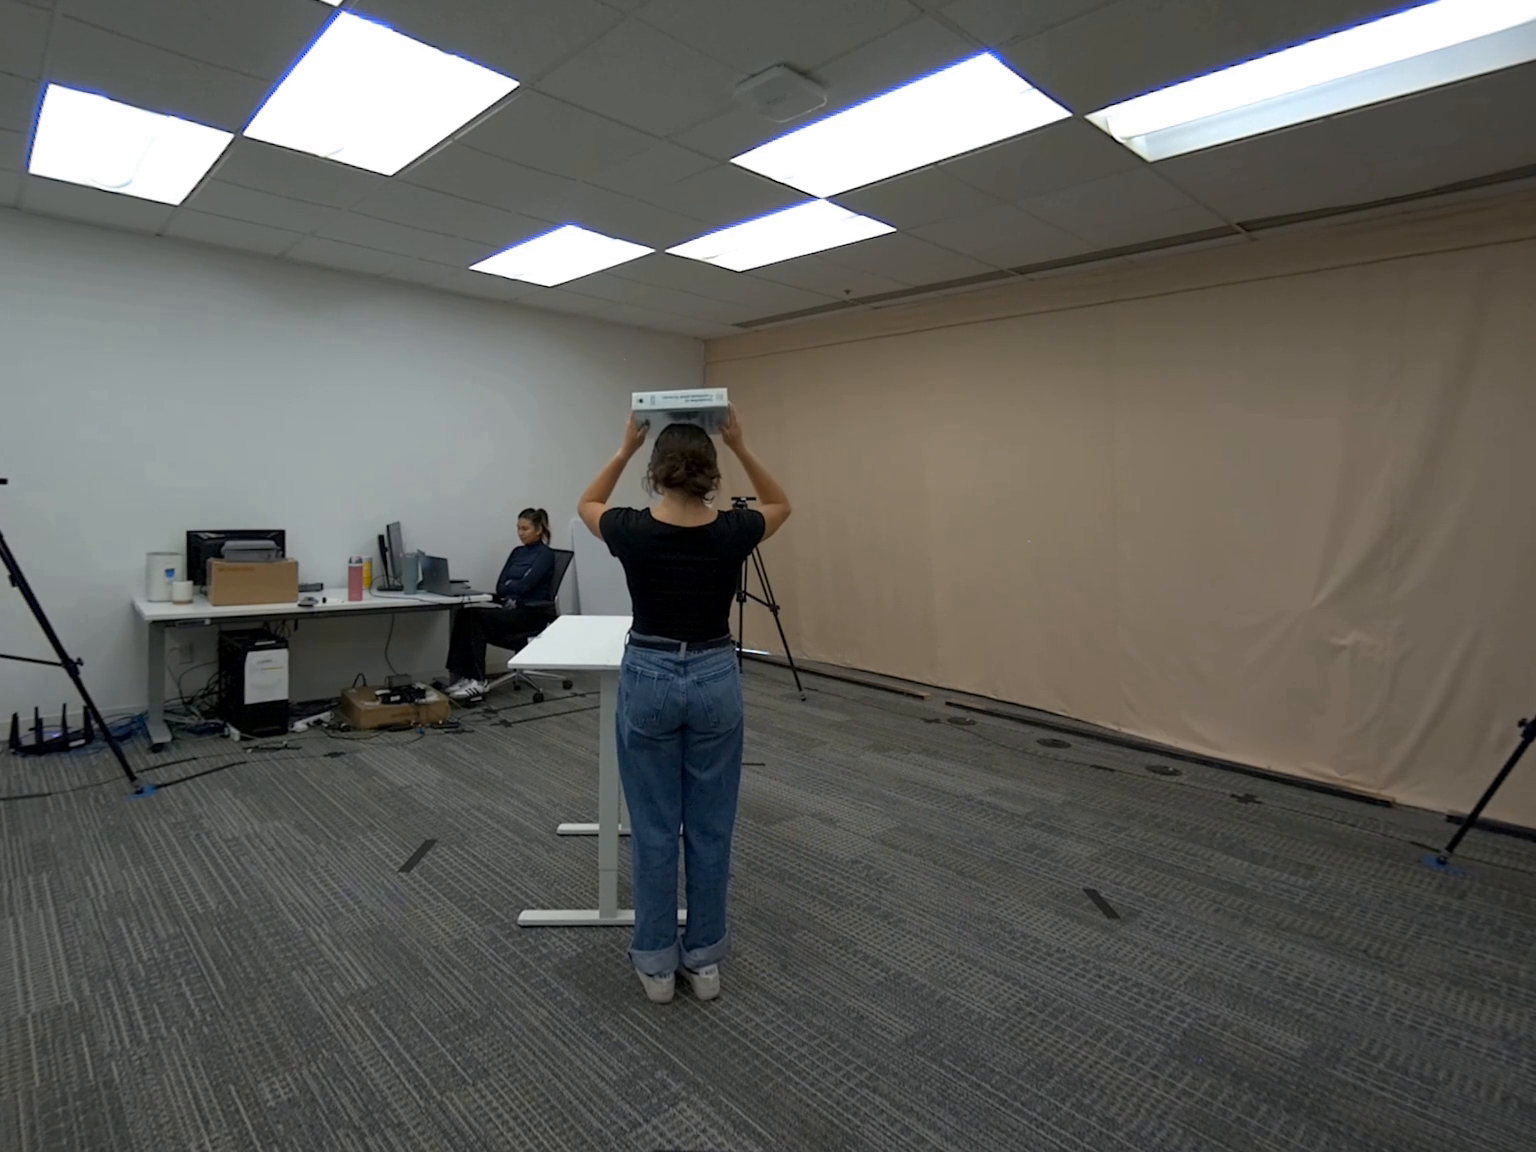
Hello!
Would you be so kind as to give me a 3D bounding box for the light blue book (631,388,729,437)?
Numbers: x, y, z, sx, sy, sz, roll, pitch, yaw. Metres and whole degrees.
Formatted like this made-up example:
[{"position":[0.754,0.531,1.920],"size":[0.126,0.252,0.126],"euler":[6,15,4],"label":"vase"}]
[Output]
[{"position":[-0.249,-0.455,2.377],"size":[0.261,0.059,0.189],"euler":[-3,-11,0],"label":"light blue book"}]
